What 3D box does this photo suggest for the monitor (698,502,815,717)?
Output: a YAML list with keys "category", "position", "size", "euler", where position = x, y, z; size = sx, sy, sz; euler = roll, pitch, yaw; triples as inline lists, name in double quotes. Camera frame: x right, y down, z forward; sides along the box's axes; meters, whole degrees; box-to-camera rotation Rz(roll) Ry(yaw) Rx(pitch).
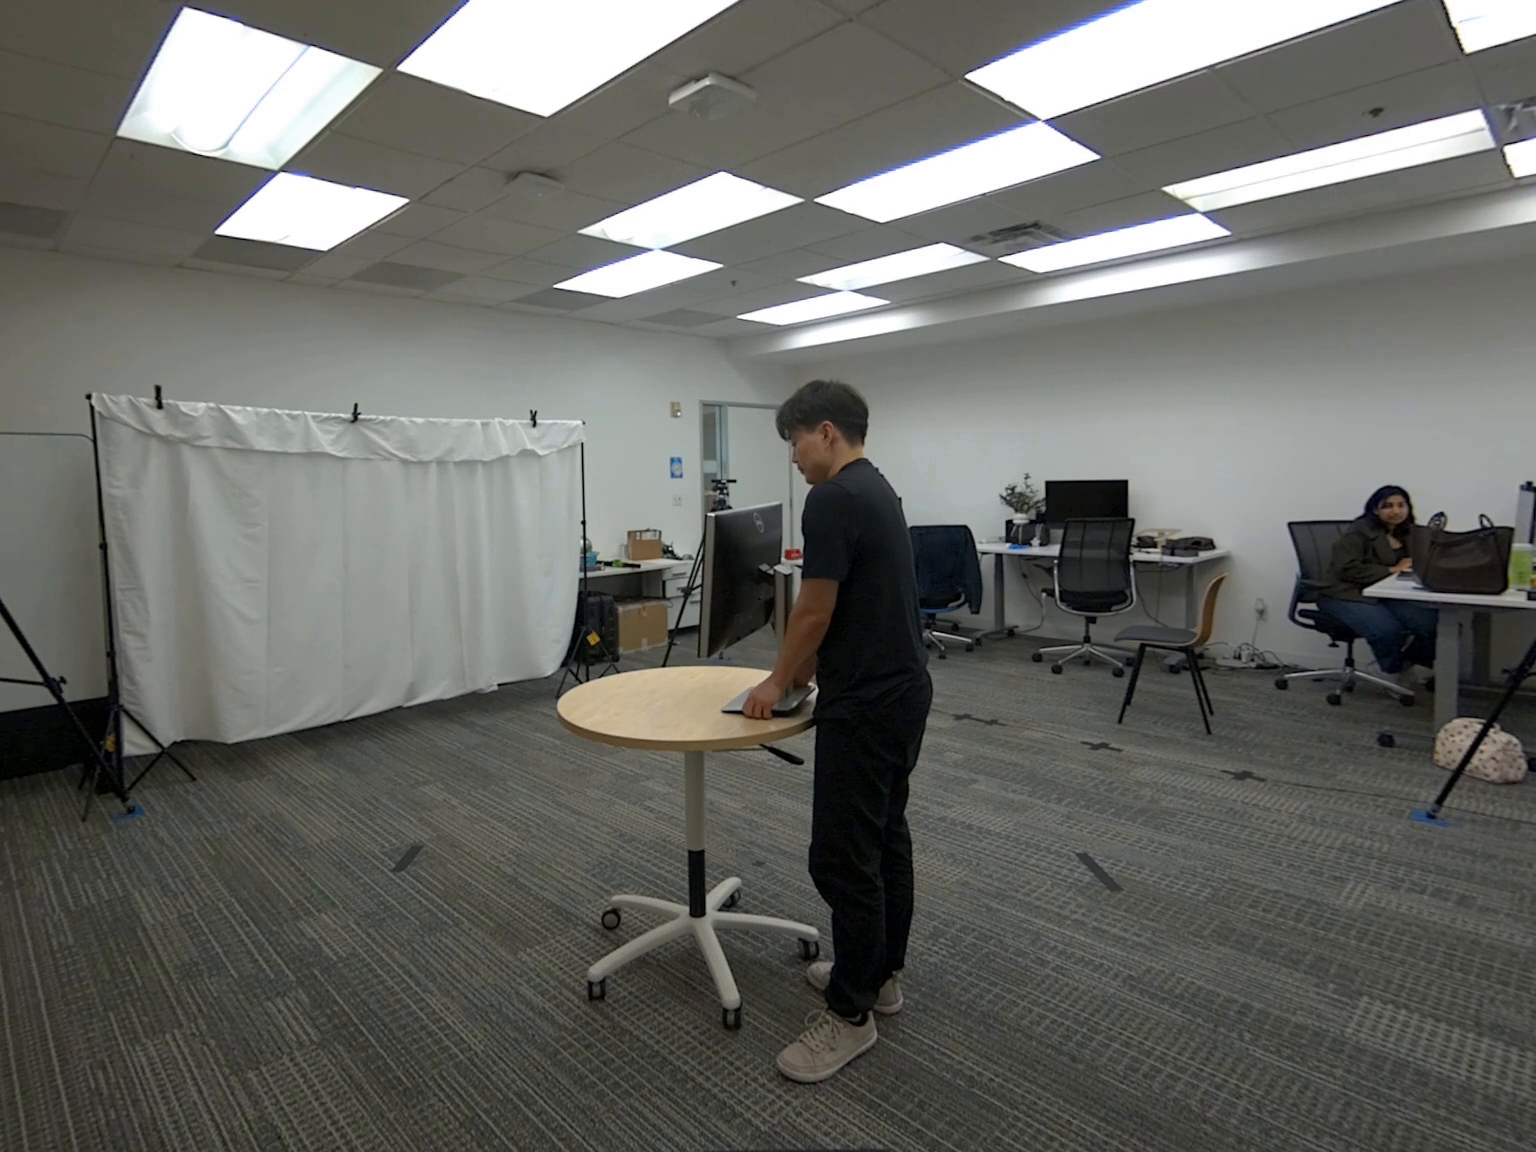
- category: "monitor"
  position: [-0.018, 0.077, 2.343]
  size: [0.190, 0.521, 0.532]
  euler: [-7, 4, 19]
